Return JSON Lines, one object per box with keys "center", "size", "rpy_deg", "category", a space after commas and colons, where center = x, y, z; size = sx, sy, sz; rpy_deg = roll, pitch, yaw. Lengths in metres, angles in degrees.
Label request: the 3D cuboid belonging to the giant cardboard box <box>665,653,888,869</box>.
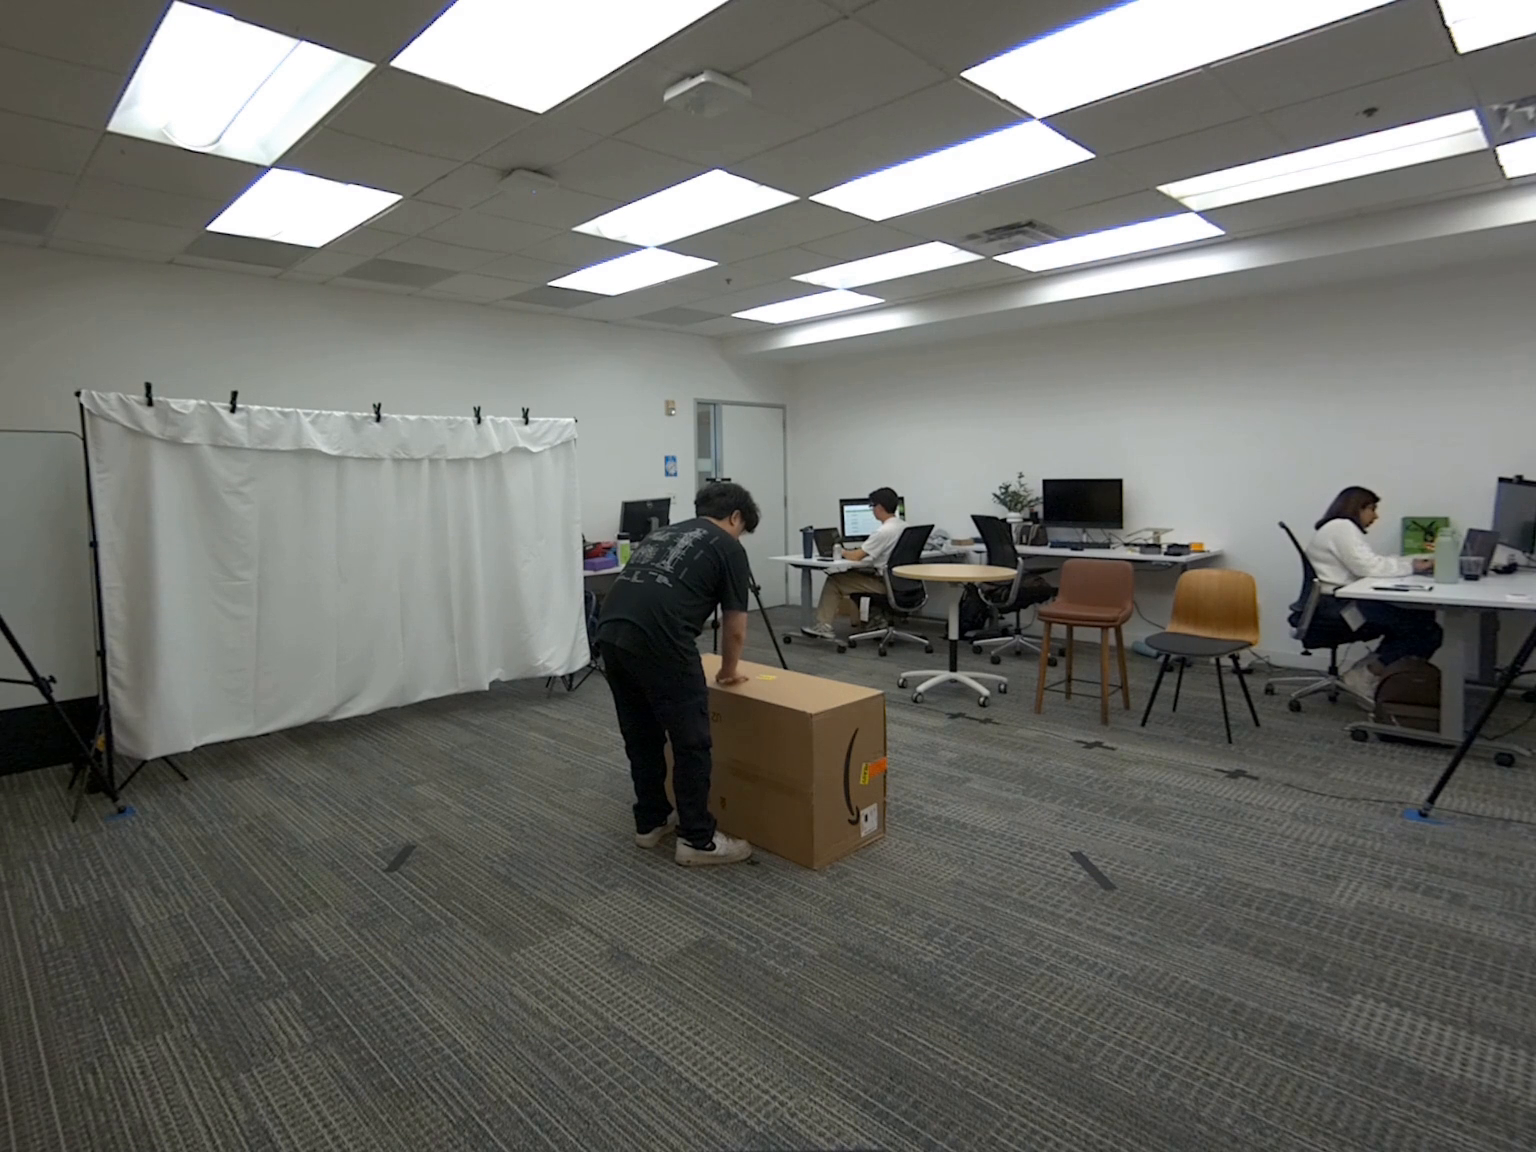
{"center": [-0.055, 0.709, 3.531], "size": [0.435, 0.582, 1.059], "rpy_deg": [-4, 7, -44], "category": "giant cardboard box"}
